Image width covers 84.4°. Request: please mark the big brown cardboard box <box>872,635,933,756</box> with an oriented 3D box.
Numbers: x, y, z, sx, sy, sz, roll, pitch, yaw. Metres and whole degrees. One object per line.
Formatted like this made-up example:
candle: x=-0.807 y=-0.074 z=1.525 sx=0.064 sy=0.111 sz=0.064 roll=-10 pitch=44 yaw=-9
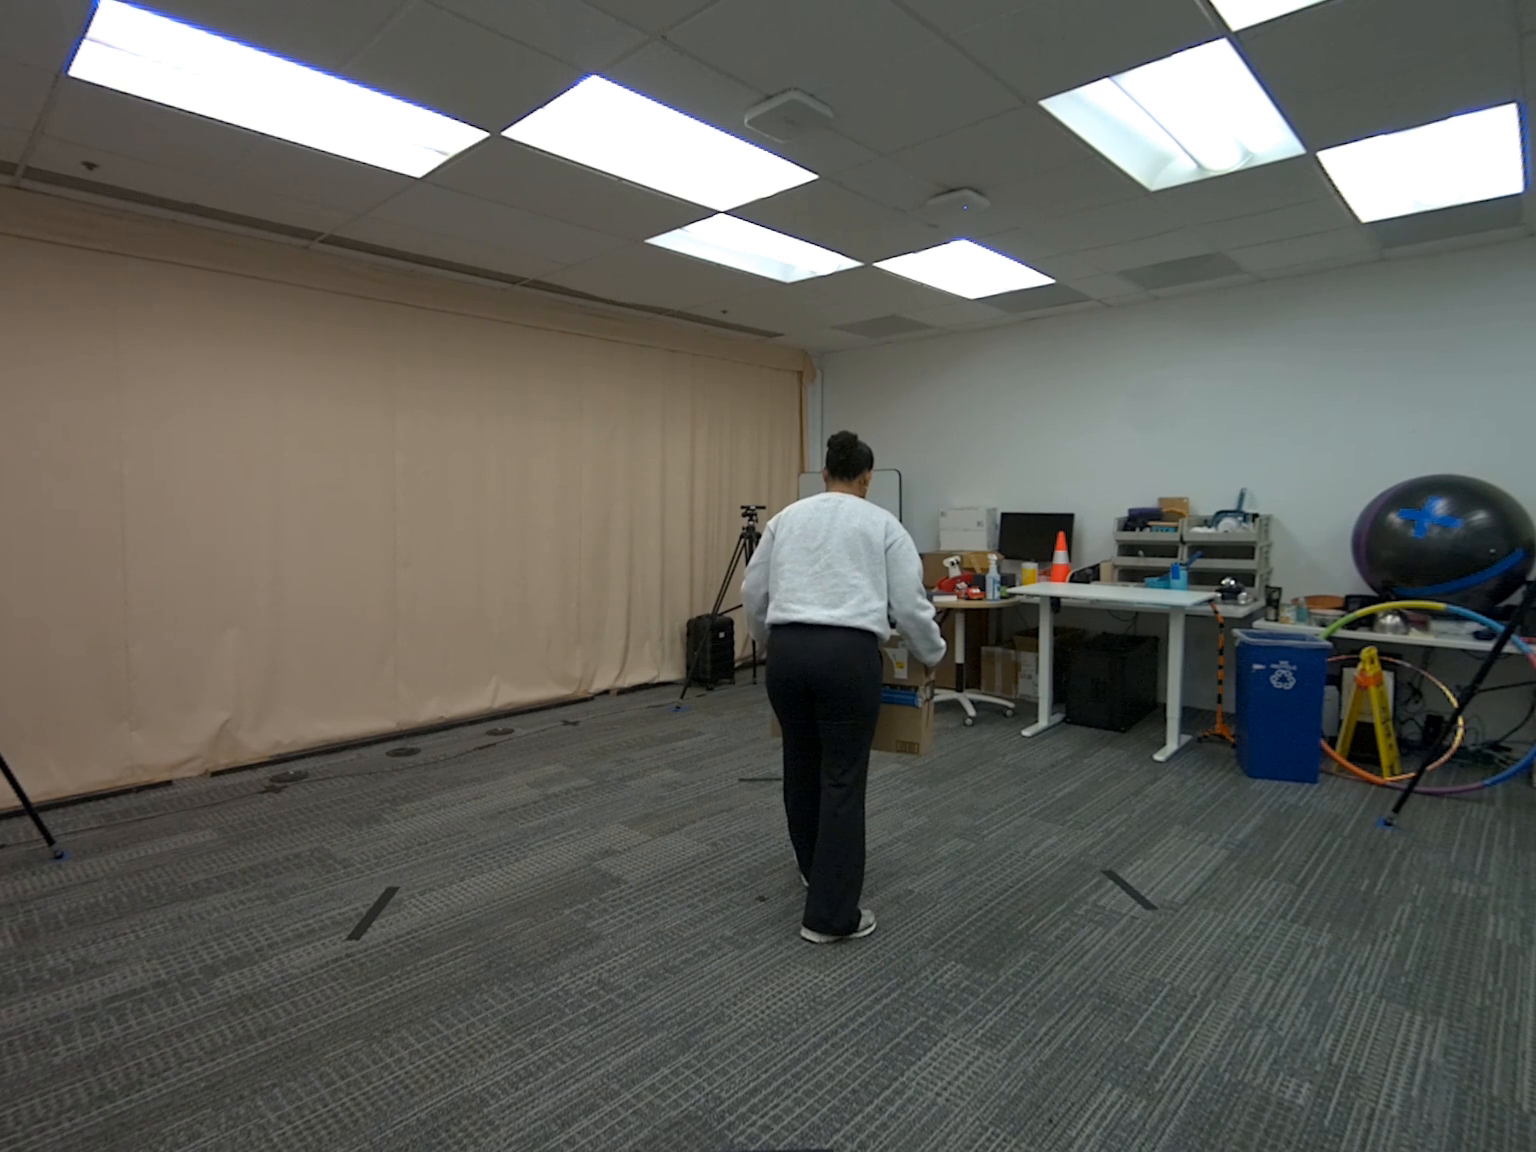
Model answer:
big brown cardboard box: x=0.324 y=0.410 z=3.146 sx=0.604 sy=0.417 sz=0.227 roll=1 pitch=0 yaw=26
